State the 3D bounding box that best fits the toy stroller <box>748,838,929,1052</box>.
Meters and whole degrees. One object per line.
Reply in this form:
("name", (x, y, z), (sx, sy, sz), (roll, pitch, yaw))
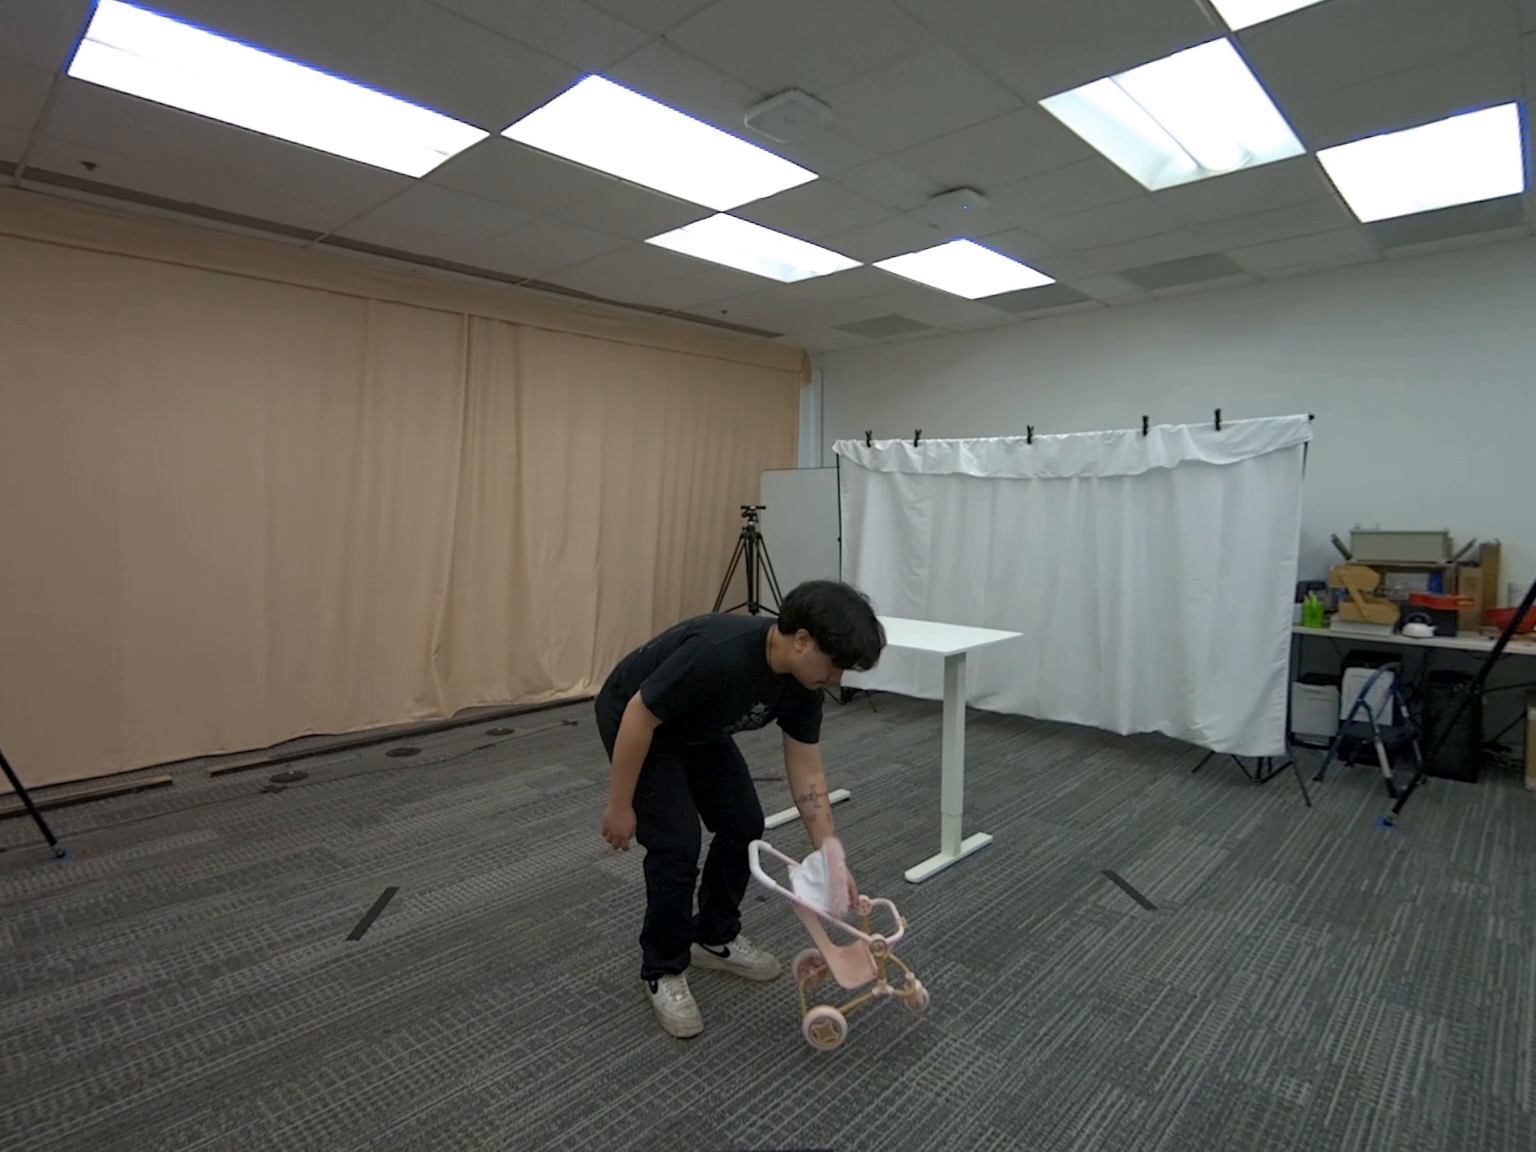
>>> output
("toy stroller", (0.193, 0.917, 2.143), (0.343, 0.532, 0.281), (-17, 5, 5))
